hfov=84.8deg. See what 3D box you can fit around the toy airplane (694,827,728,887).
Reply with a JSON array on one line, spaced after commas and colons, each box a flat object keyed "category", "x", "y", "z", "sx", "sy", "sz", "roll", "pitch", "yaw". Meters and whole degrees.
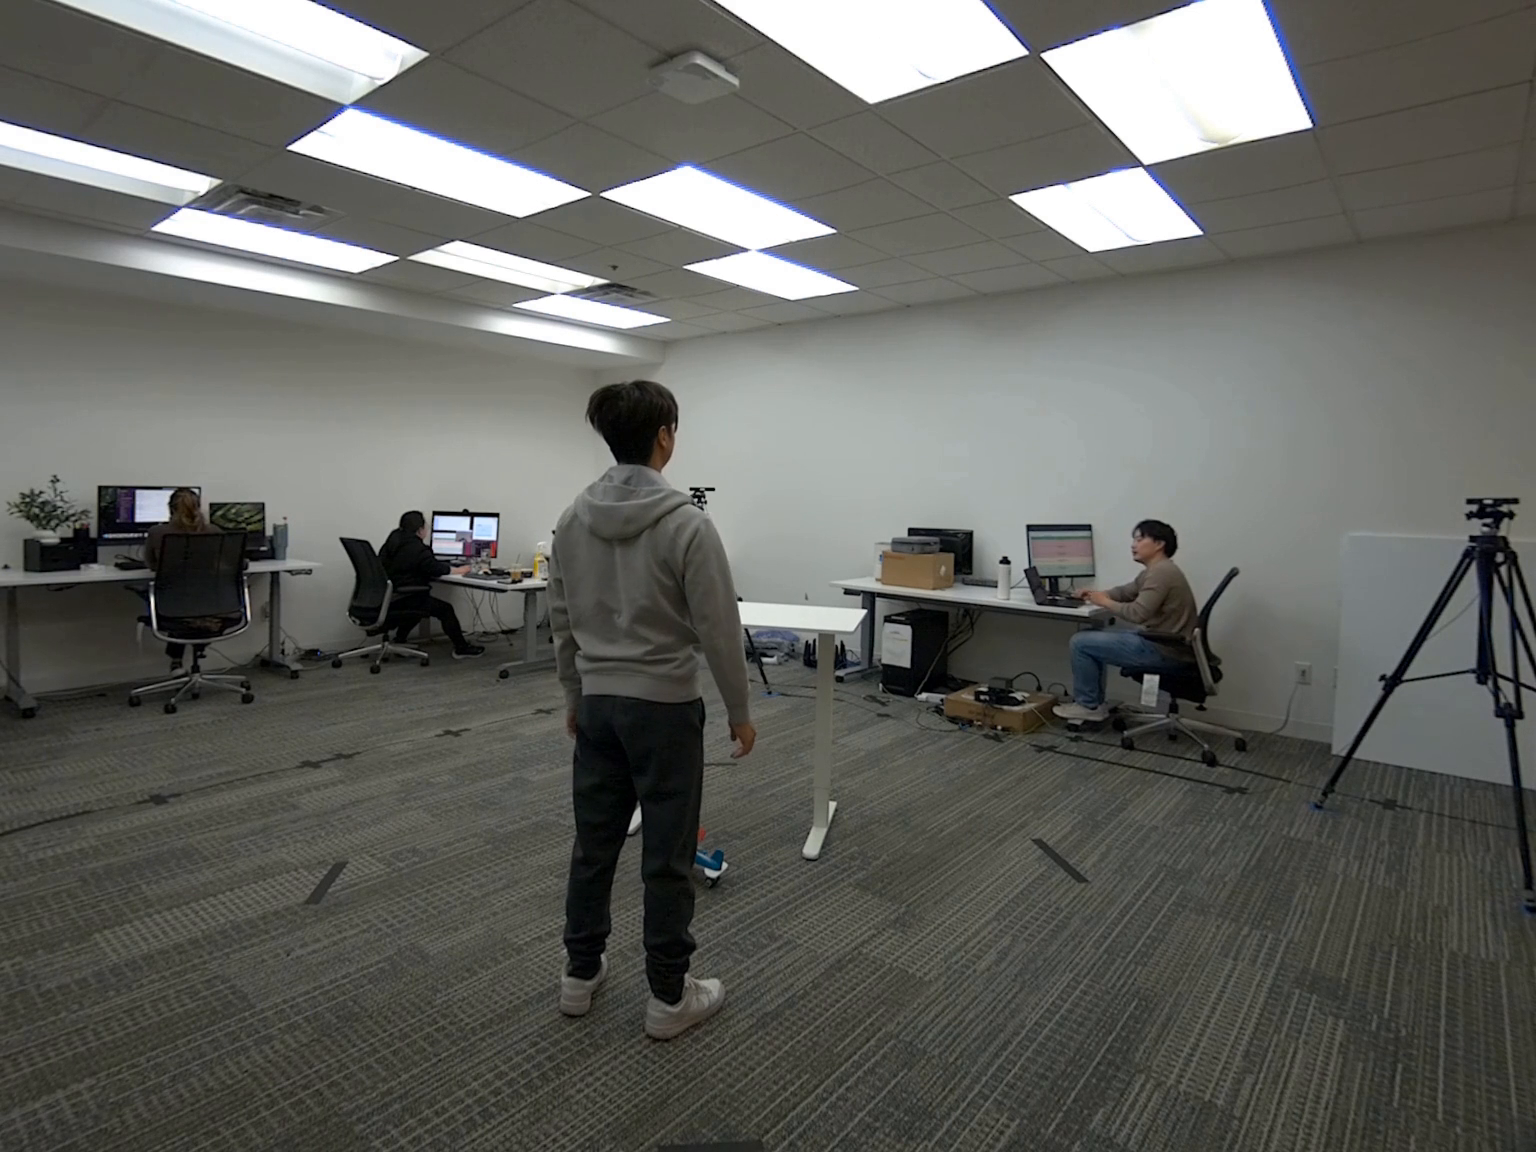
[{"category": "toy airplane", "x": -0.278, "y": 0.993, "z": 3.036, "sx": 0.258, "sy": 0.156, "sz": 0.253, "roll": -1, "pitch": 4, "yaw": -5}]
